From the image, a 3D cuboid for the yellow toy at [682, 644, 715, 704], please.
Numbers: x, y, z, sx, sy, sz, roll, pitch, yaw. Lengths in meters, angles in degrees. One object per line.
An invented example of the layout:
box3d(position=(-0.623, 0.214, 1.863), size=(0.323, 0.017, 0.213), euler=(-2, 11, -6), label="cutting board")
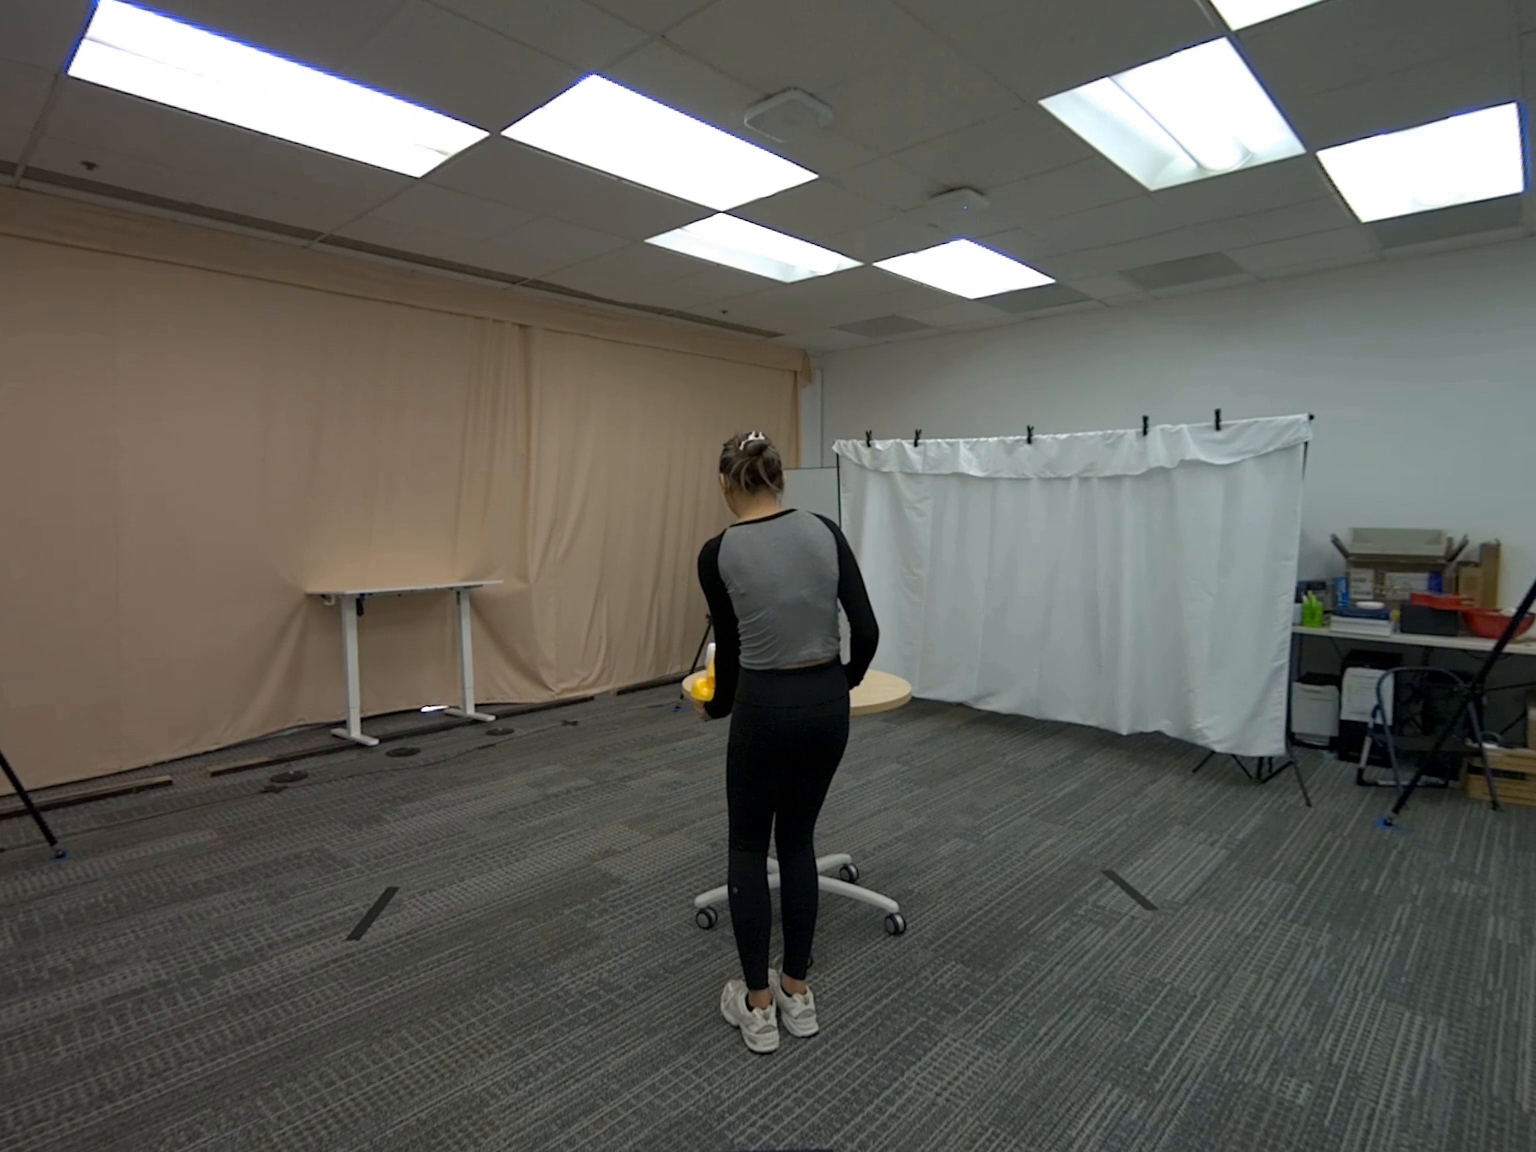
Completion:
box3d(position=(-0.122, 0.260, 2.574), size=(0.199, 0.231, 0.198), euler=(3, -1, -28), label="yellow toy")
